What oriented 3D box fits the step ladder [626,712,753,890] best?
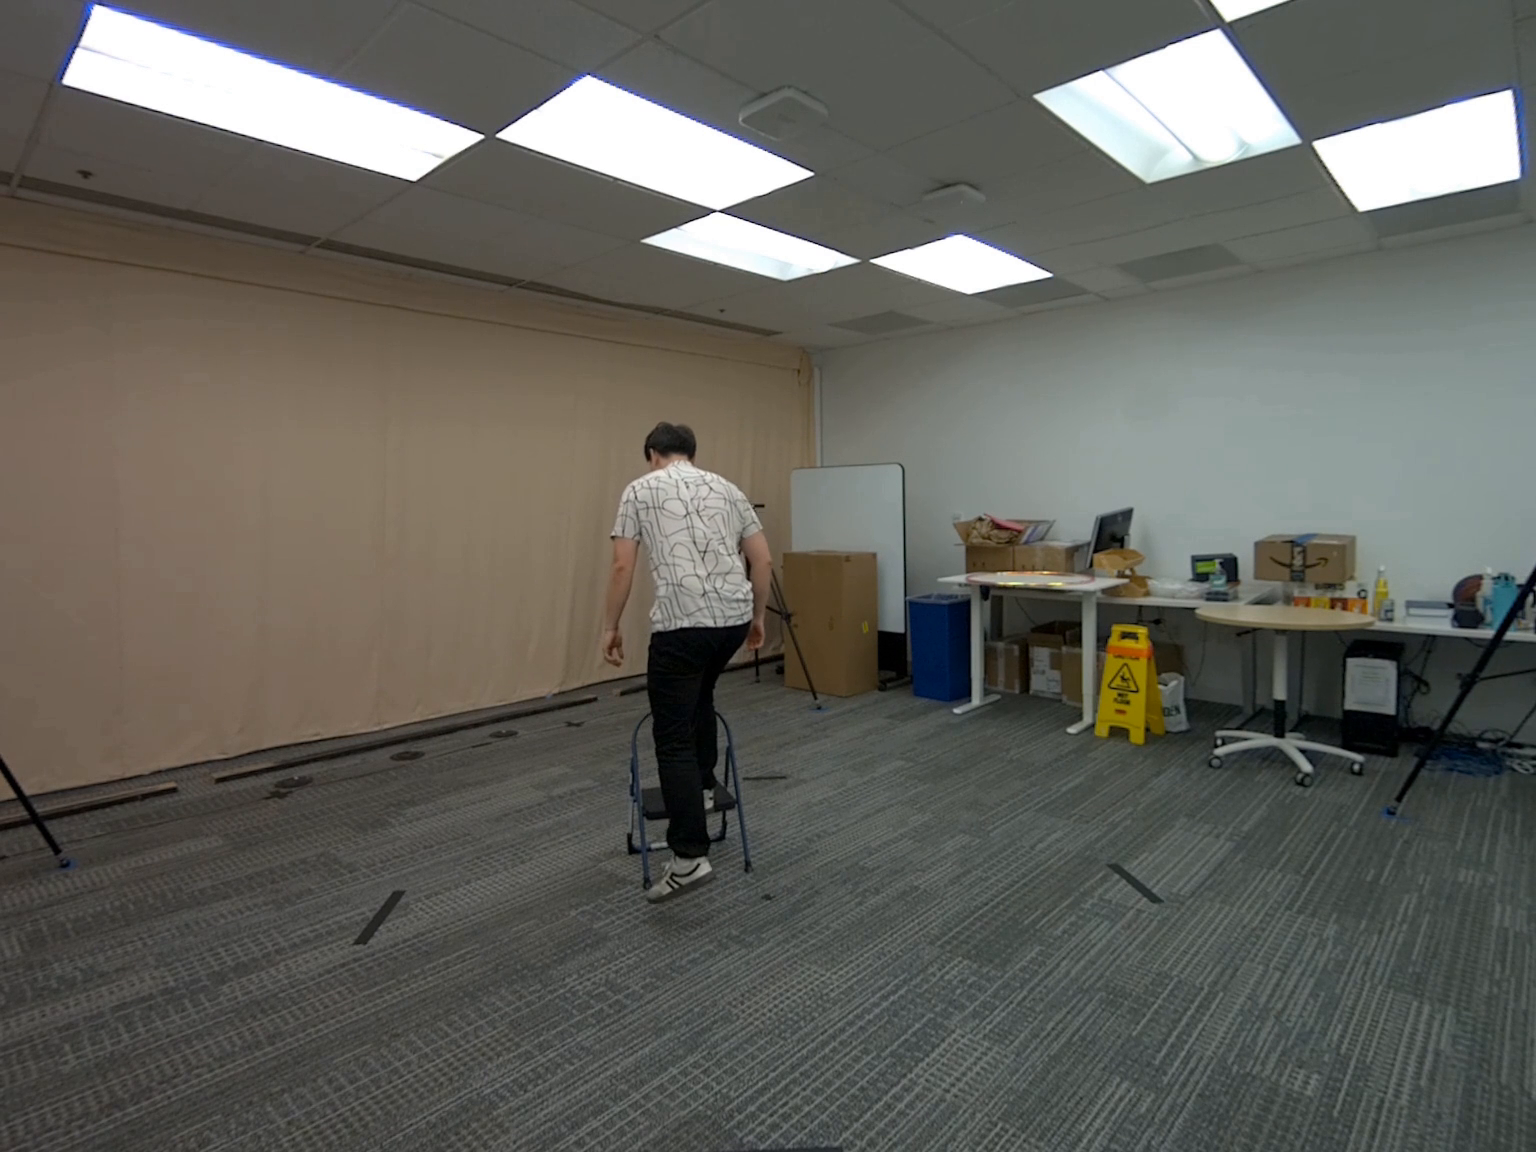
[{"bbox_3d":[-0.319,0.820,3.286,0.422,0.605,0.357,-2,3,-20],"label":"step ladder"}]
